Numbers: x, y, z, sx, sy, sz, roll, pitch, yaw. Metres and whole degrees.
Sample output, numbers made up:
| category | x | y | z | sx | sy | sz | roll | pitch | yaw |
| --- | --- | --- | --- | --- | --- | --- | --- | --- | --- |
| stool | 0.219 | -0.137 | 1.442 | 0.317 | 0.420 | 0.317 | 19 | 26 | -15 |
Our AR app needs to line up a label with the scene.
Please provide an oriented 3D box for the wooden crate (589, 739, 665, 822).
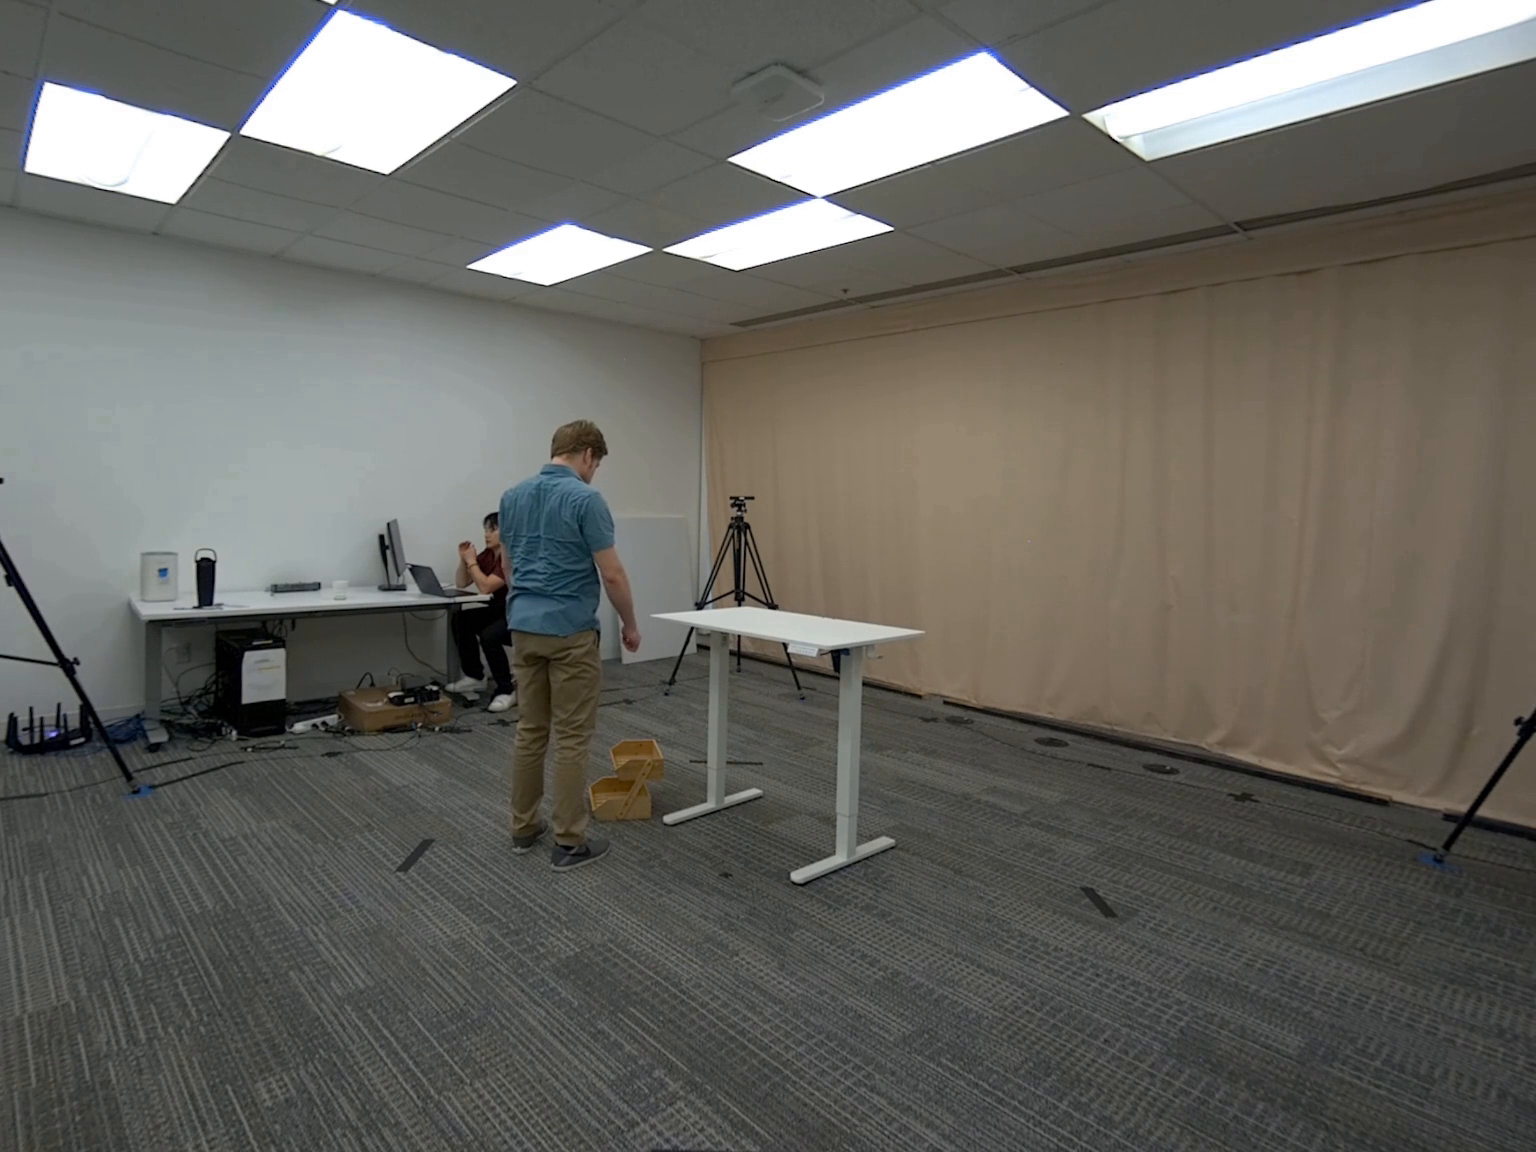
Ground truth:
| category | x | y | z | sx | sy | sz | roll | pitch | yaw |
| --- | --- | --- | --- | --- | --- | --- | --- | --- | --- |
| wooden crate | -0.653 | 0.899 | 3.761 | 0.298 | 0.272 | 0.329 | 1 | 4 | -16 |
